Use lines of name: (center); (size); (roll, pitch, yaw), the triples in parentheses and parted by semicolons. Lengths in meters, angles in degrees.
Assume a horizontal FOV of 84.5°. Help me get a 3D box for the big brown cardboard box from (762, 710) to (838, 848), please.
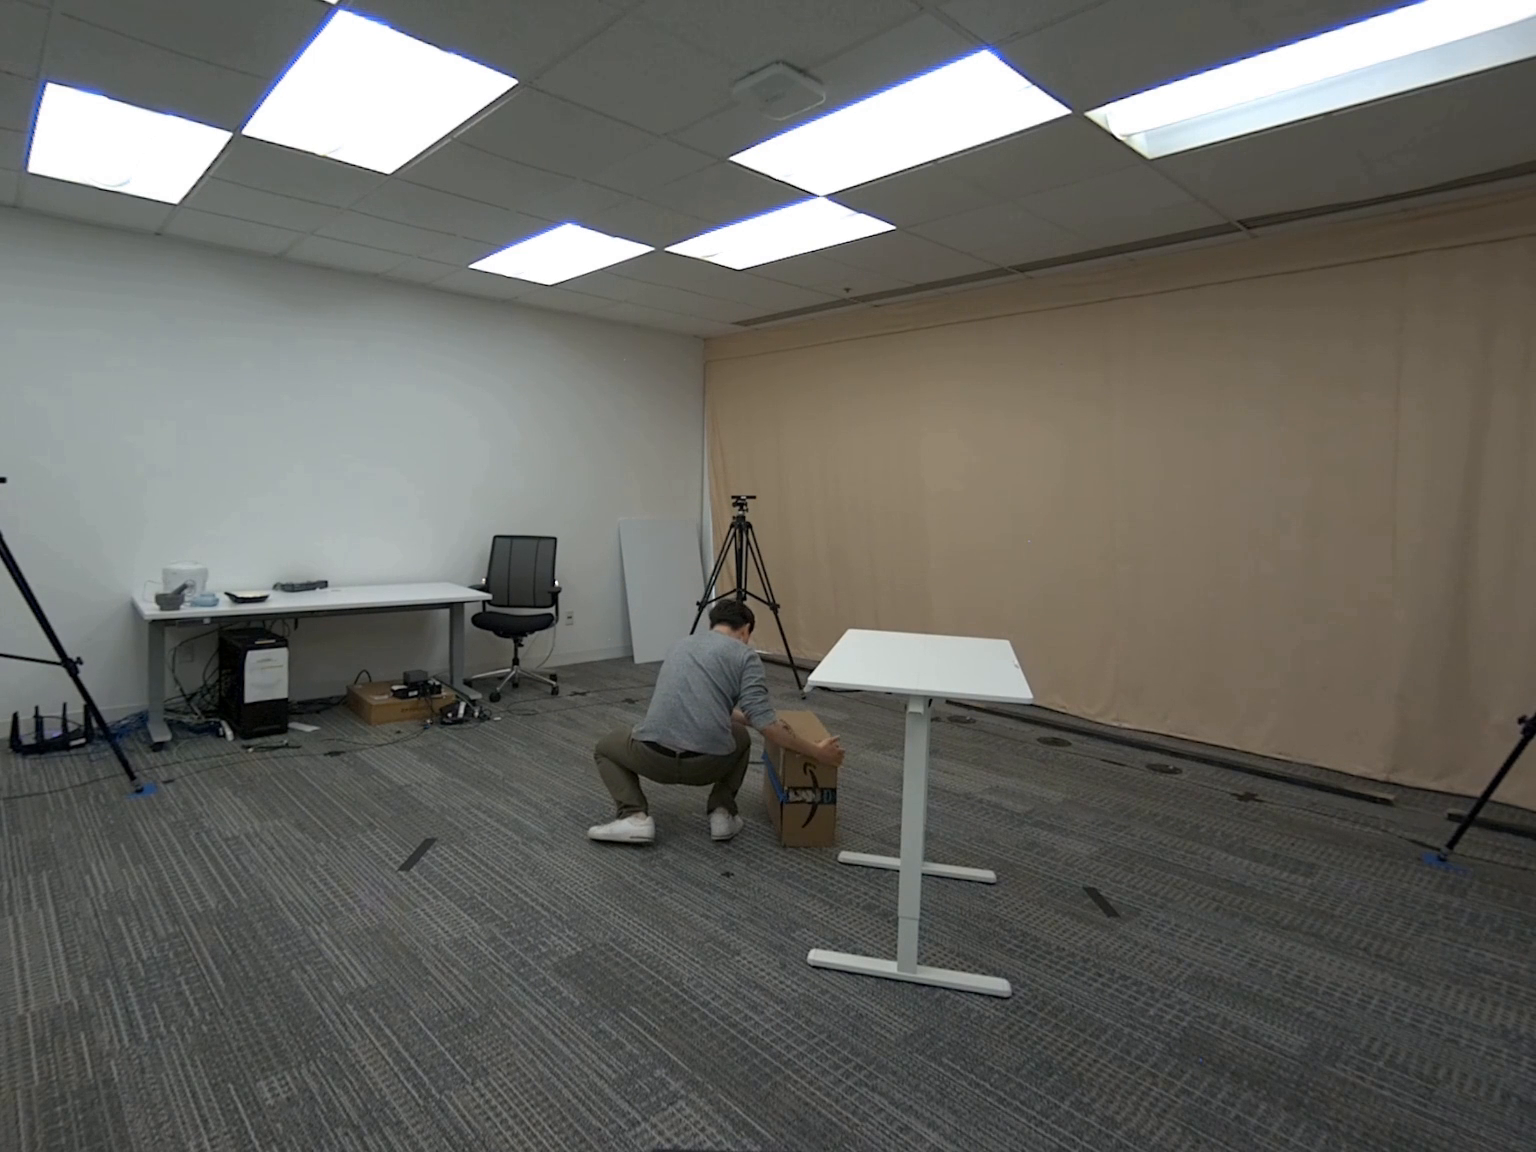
big brown cardboard box: (0.120, 0.846, 3.632); (0.232, 0.416, 0.593); (2, 4, -7)
